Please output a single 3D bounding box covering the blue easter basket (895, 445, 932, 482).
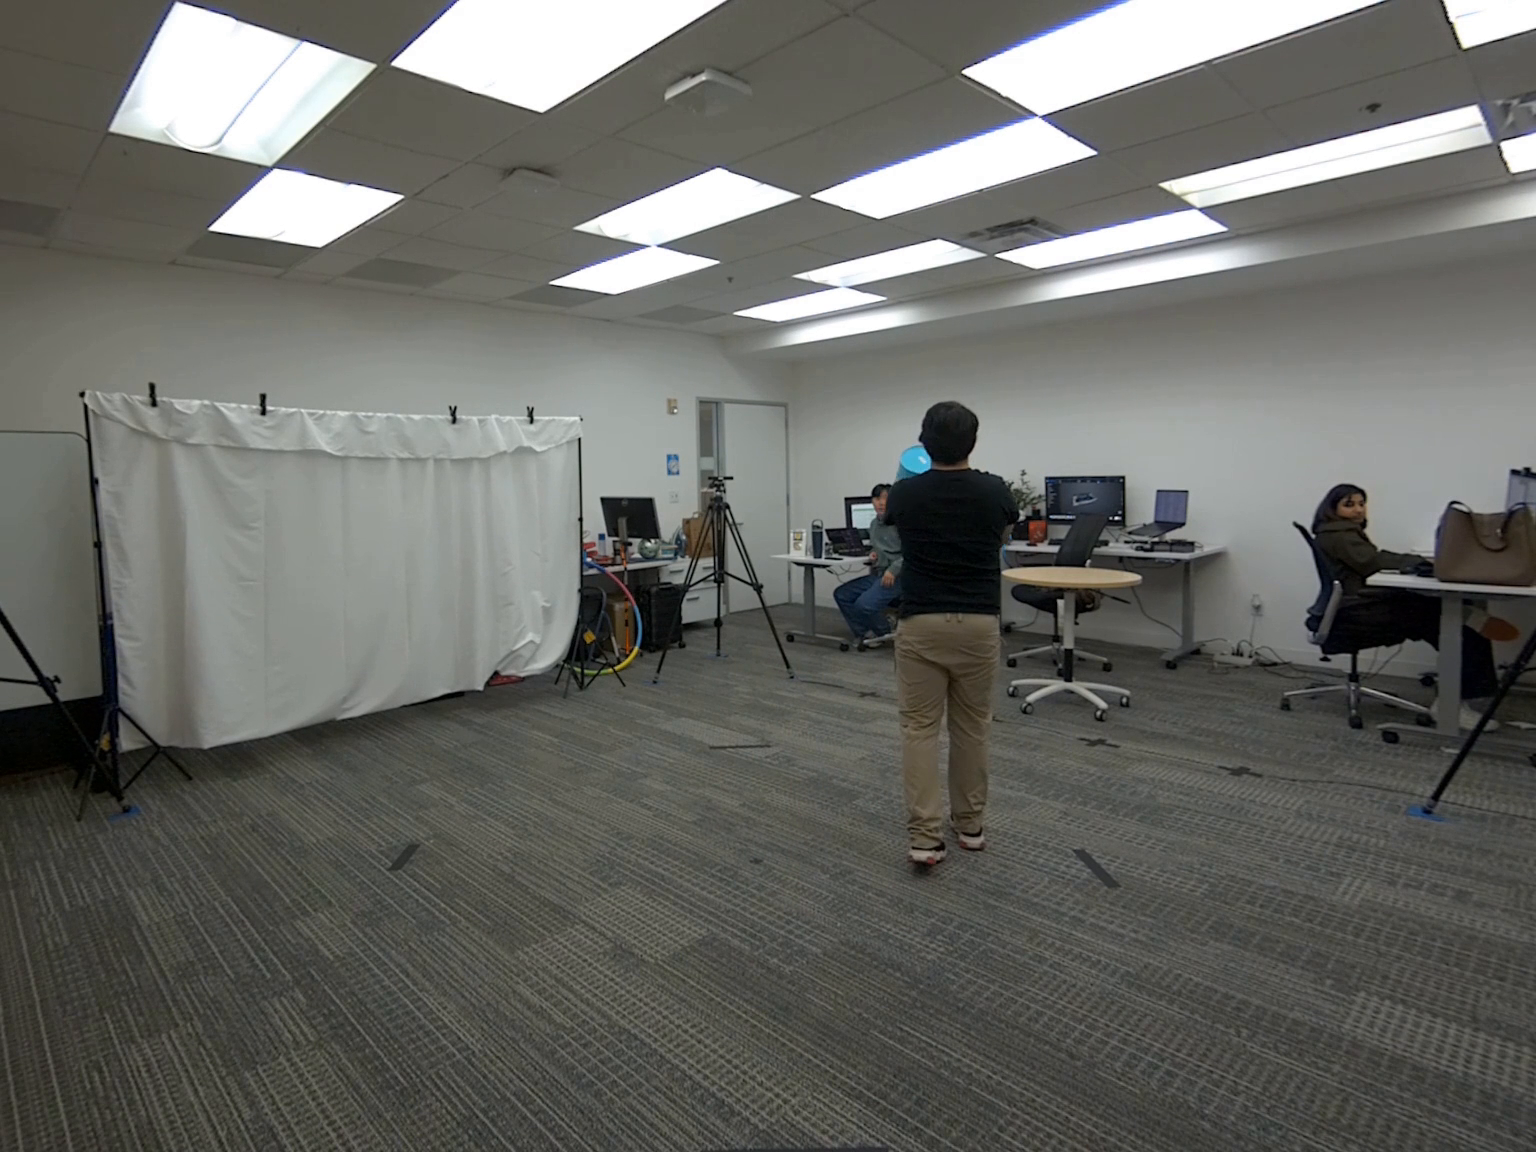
[{"bbox_3d":[0.681,-0.447,3.655,0.244,0.151,0.250,-5,47,4],"label":"blue easter basket"}]
